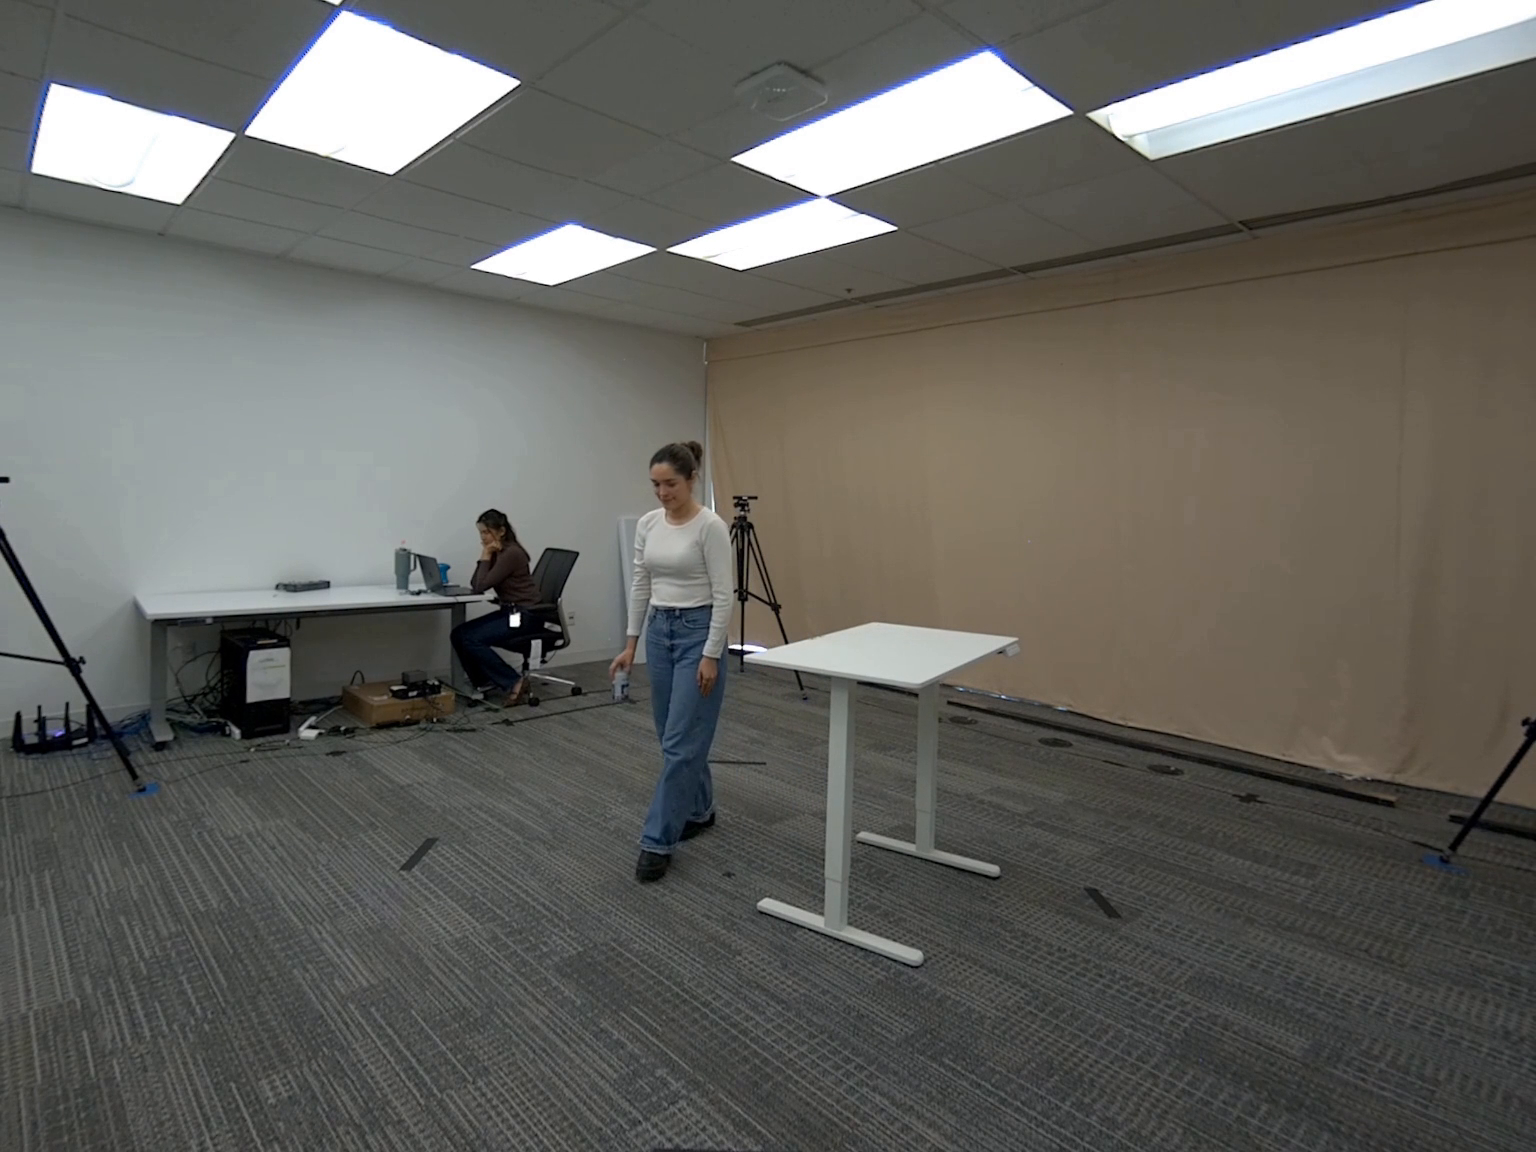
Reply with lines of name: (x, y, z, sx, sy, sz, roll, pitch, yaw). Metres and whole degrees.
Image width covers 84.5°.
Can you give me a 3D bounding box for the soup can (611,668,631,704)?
soup can: (-0.583, 0.431, 3.346, 0.067, 0.121, 0.067, 2, 7, -2)
